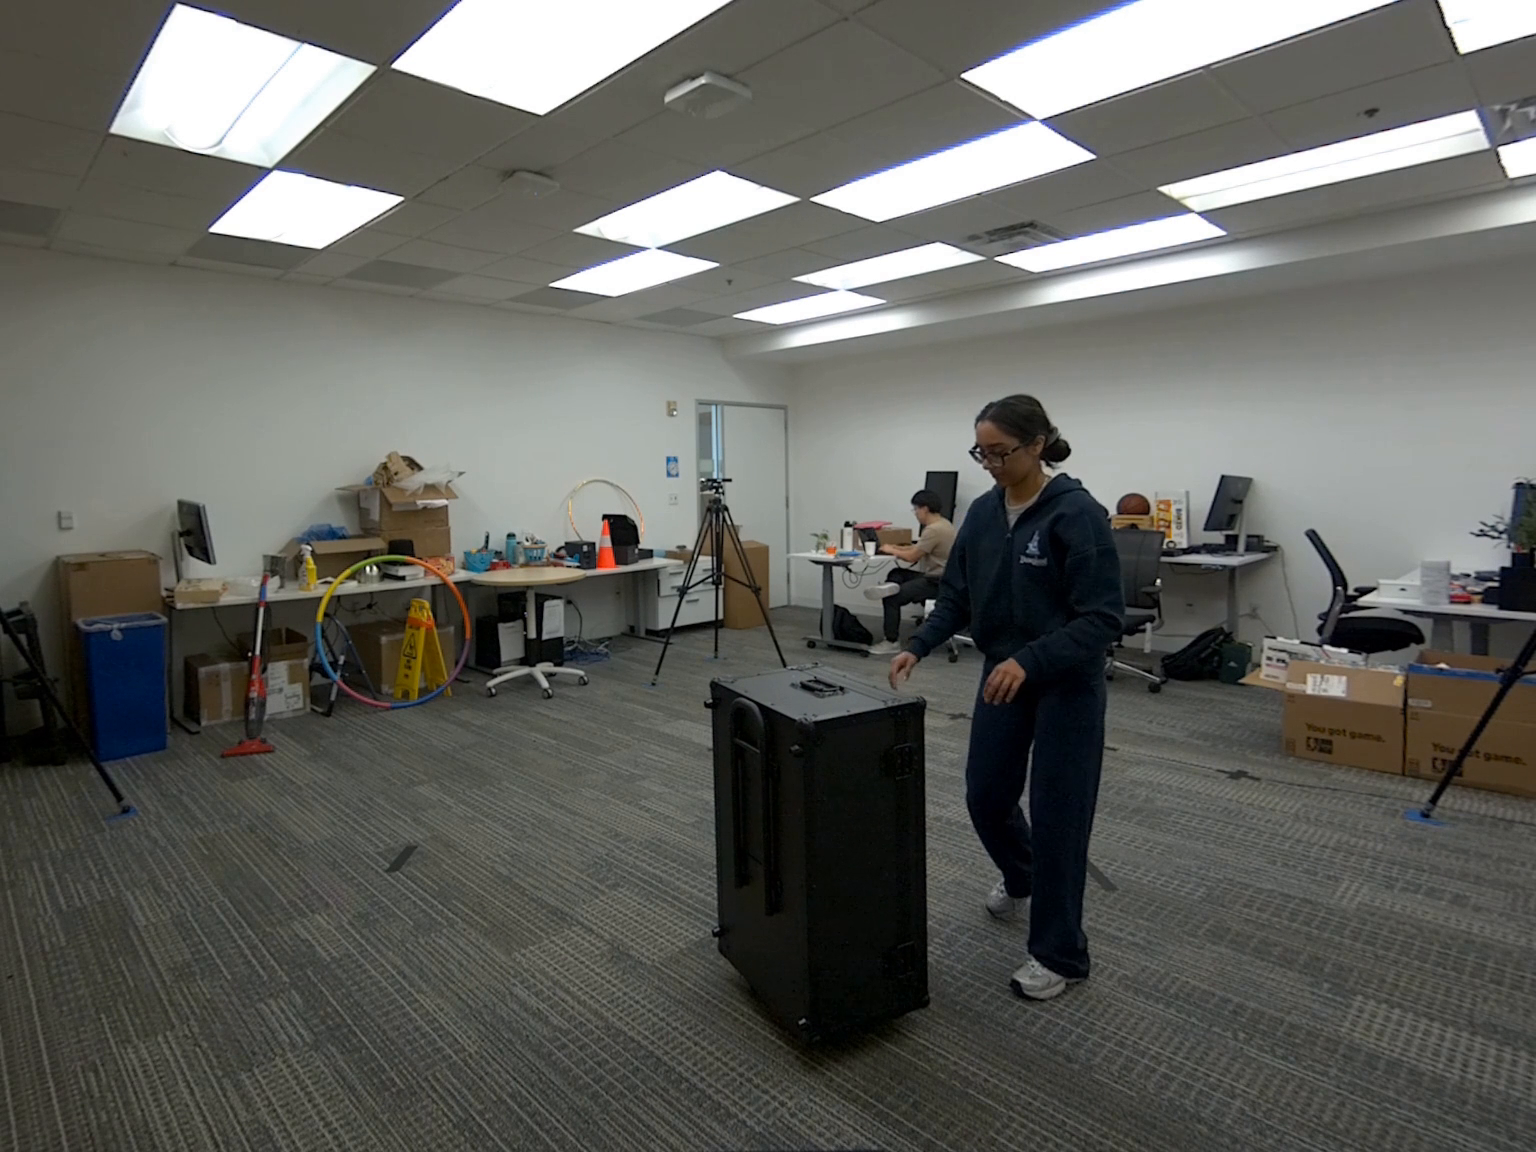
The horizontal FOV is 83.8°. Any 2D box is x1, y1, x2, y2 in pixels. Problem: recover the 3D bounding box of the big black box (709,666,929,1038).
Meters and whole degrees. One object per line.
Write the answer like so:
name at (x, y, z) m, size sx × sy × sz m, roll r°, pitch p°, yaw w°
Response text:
big black box at (0.123, 0.720, 2.238) m, size 0.388 × 0.858 × 0.535 m, roll -5°, pitch 6°, yaw -28°
